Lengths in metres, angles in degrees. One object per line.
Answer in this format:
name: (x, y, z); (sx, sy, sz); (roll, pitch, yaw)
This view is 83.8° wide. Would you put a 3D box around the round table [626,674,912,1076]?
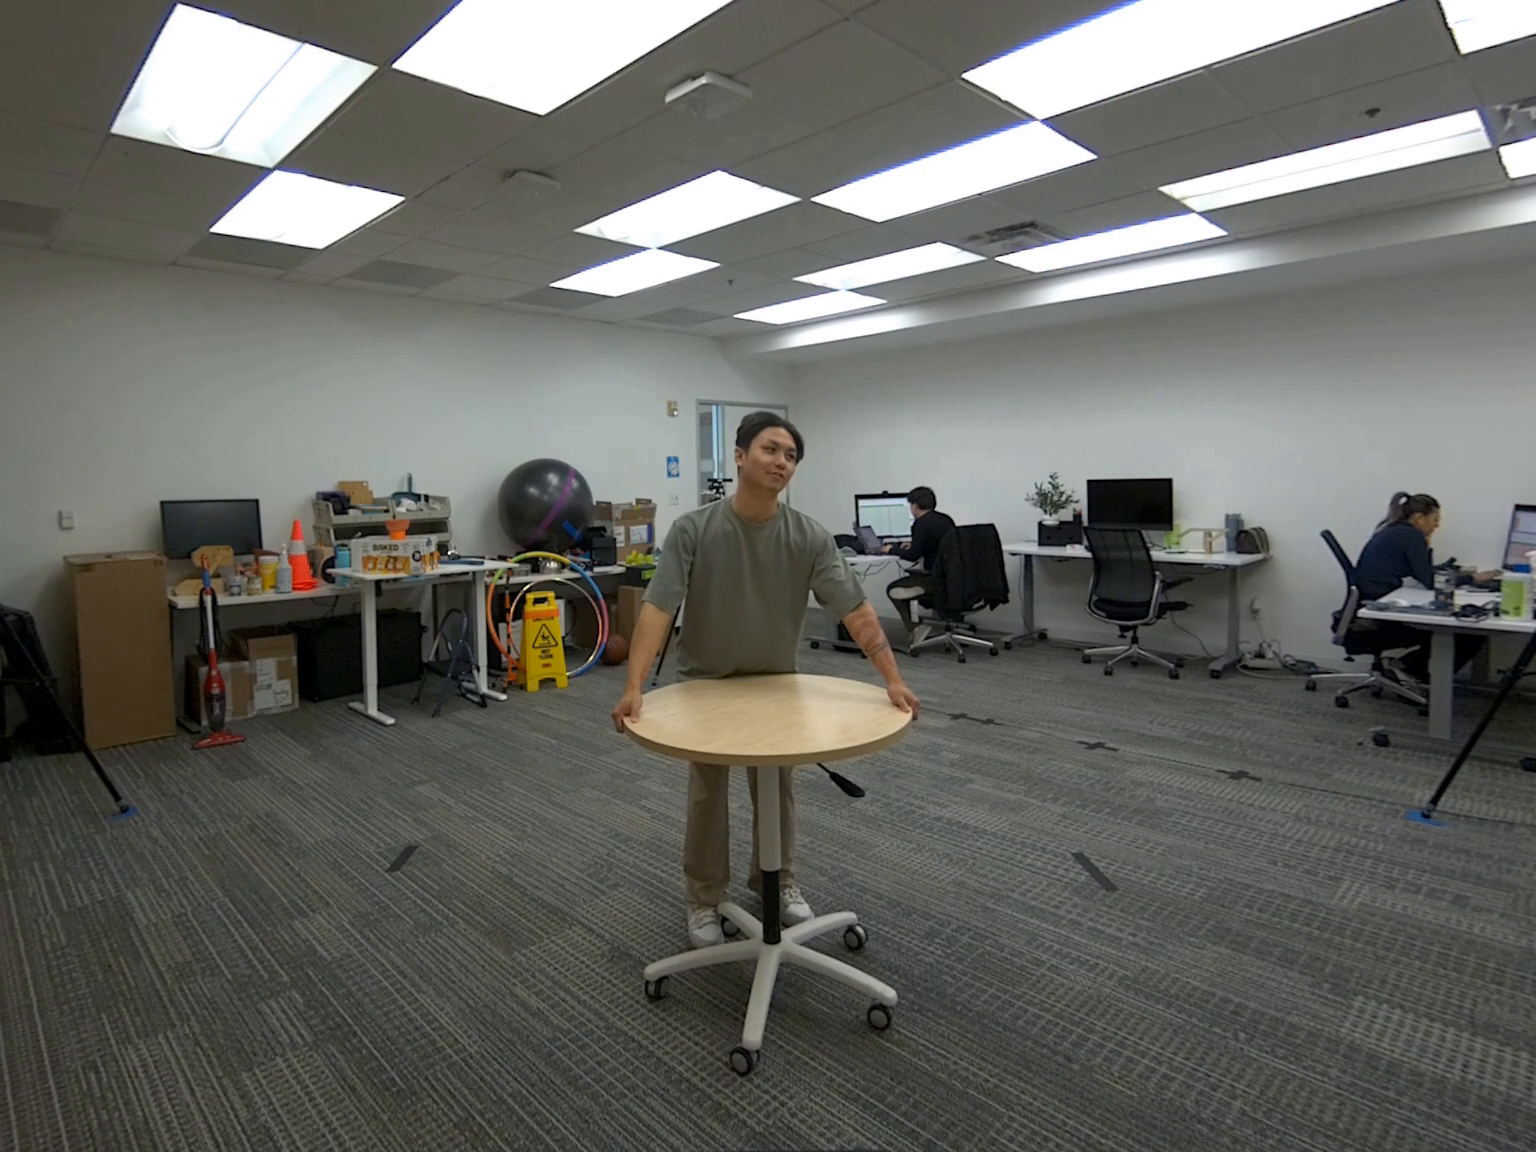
round table: (-0.002, 0.744, 2.312); (0.784, 0.783, 0.790); (-1, 6, -2)
